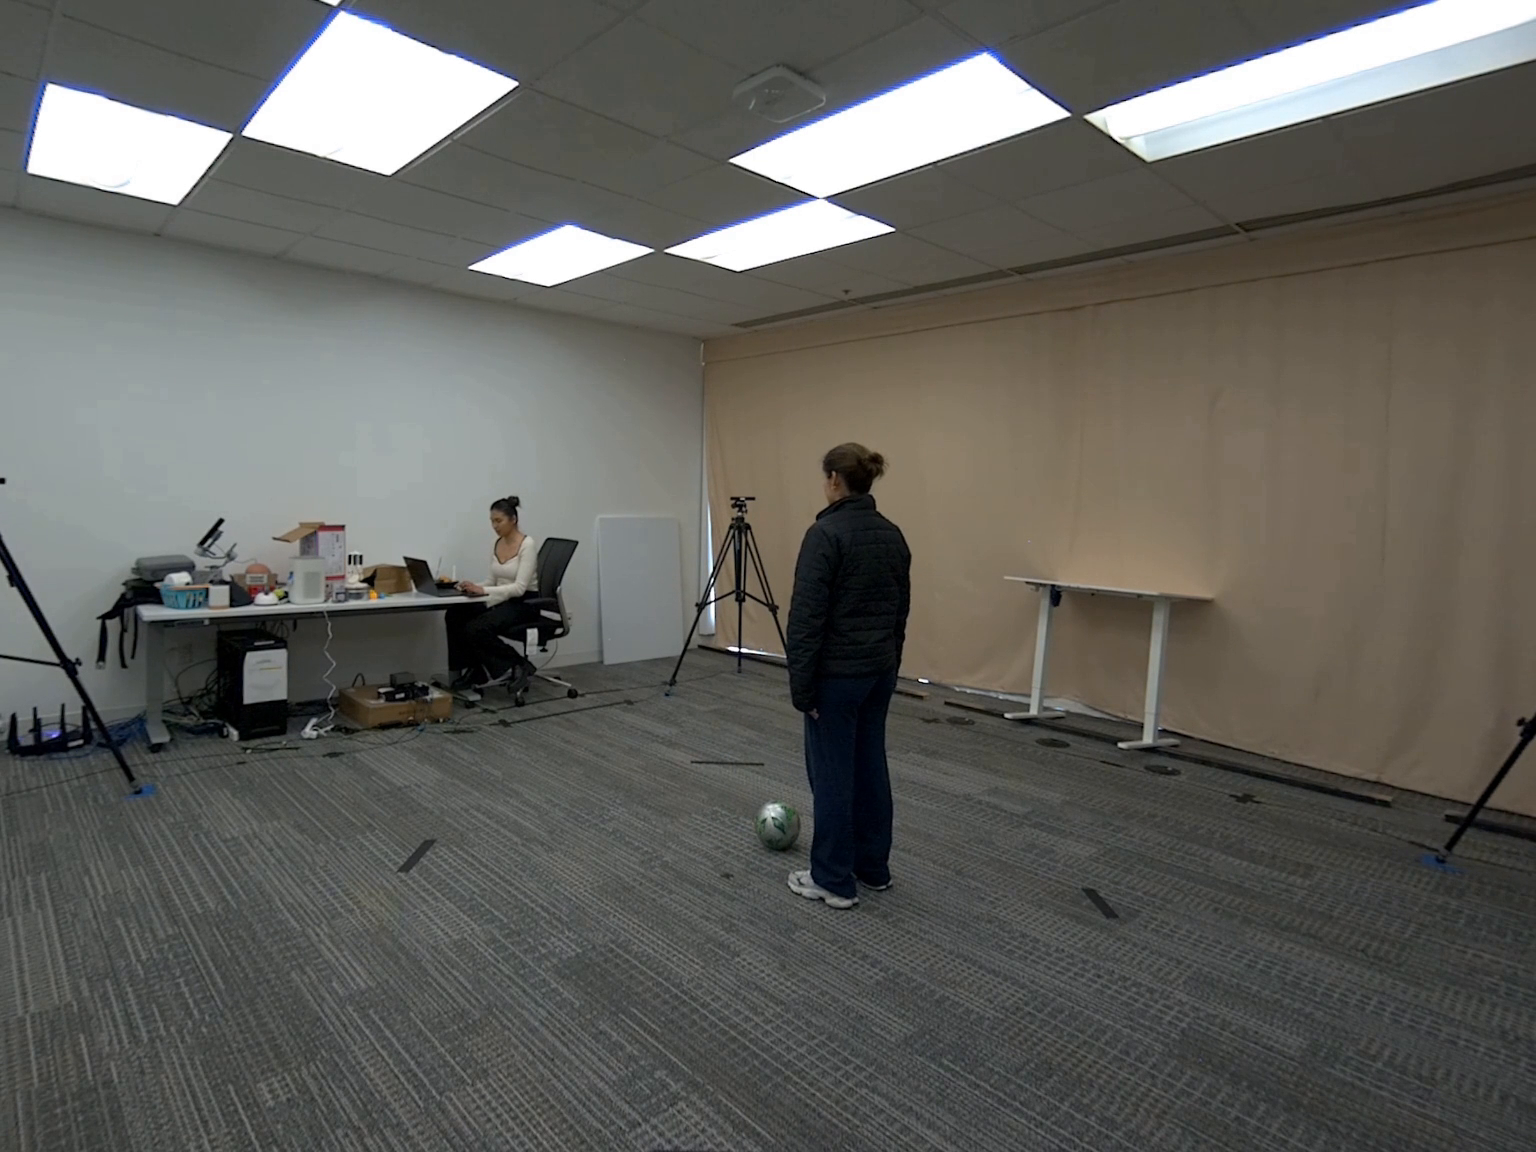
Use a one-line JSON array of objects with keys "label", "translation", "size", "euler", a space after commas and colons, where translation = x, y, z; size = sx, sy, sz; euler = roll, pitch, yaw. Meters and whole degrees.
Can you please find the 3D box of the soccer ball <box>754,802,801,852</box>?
[{"label": "soccer ball", "translation": [0.032, 0.991, 3.369], "size": [0.187, 0.187, 0.188], "euler": [1, 4, -1]}]
